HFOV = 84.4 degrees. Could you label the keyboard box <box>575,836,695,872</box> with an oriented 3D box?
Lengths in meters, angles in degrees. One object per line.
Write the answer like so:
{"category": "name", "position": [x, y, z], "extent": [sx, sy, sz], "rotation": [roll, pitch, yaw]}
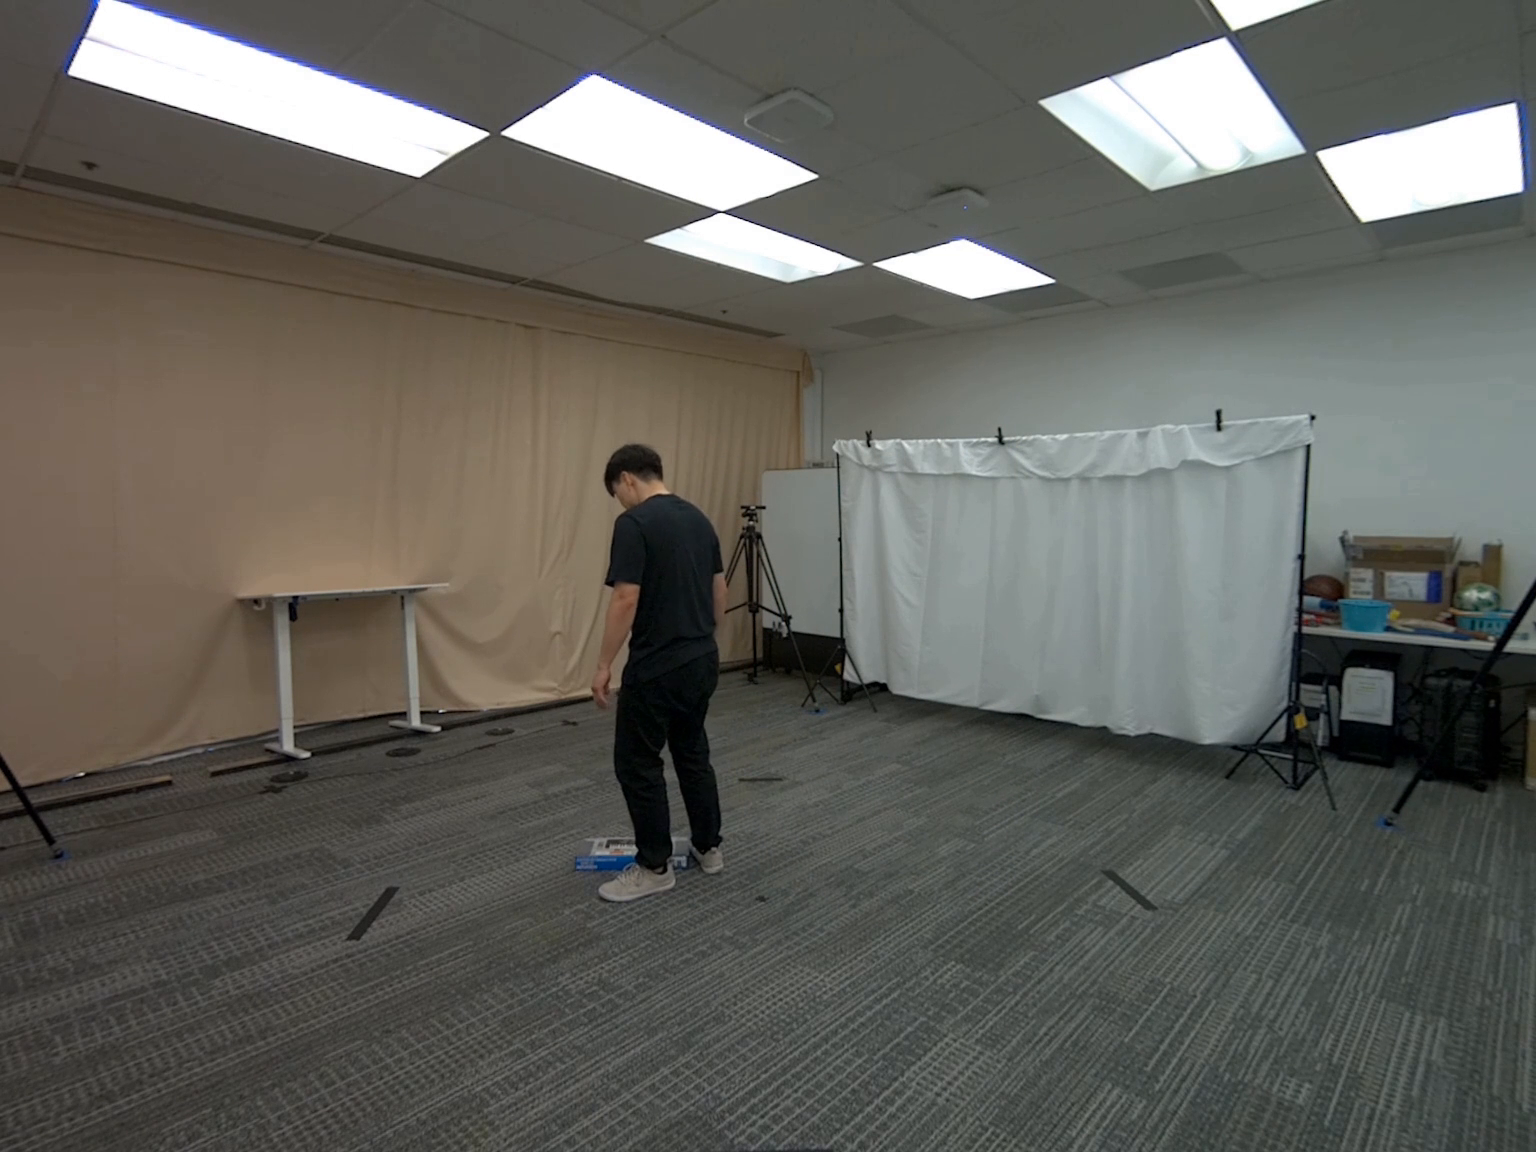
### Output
{"category": "keyboard box", "position": [-0.530, 1.093, 3.310], "extent": [0.437, 0.059, 0.176], "rotation": [-1, 5, -1]}
